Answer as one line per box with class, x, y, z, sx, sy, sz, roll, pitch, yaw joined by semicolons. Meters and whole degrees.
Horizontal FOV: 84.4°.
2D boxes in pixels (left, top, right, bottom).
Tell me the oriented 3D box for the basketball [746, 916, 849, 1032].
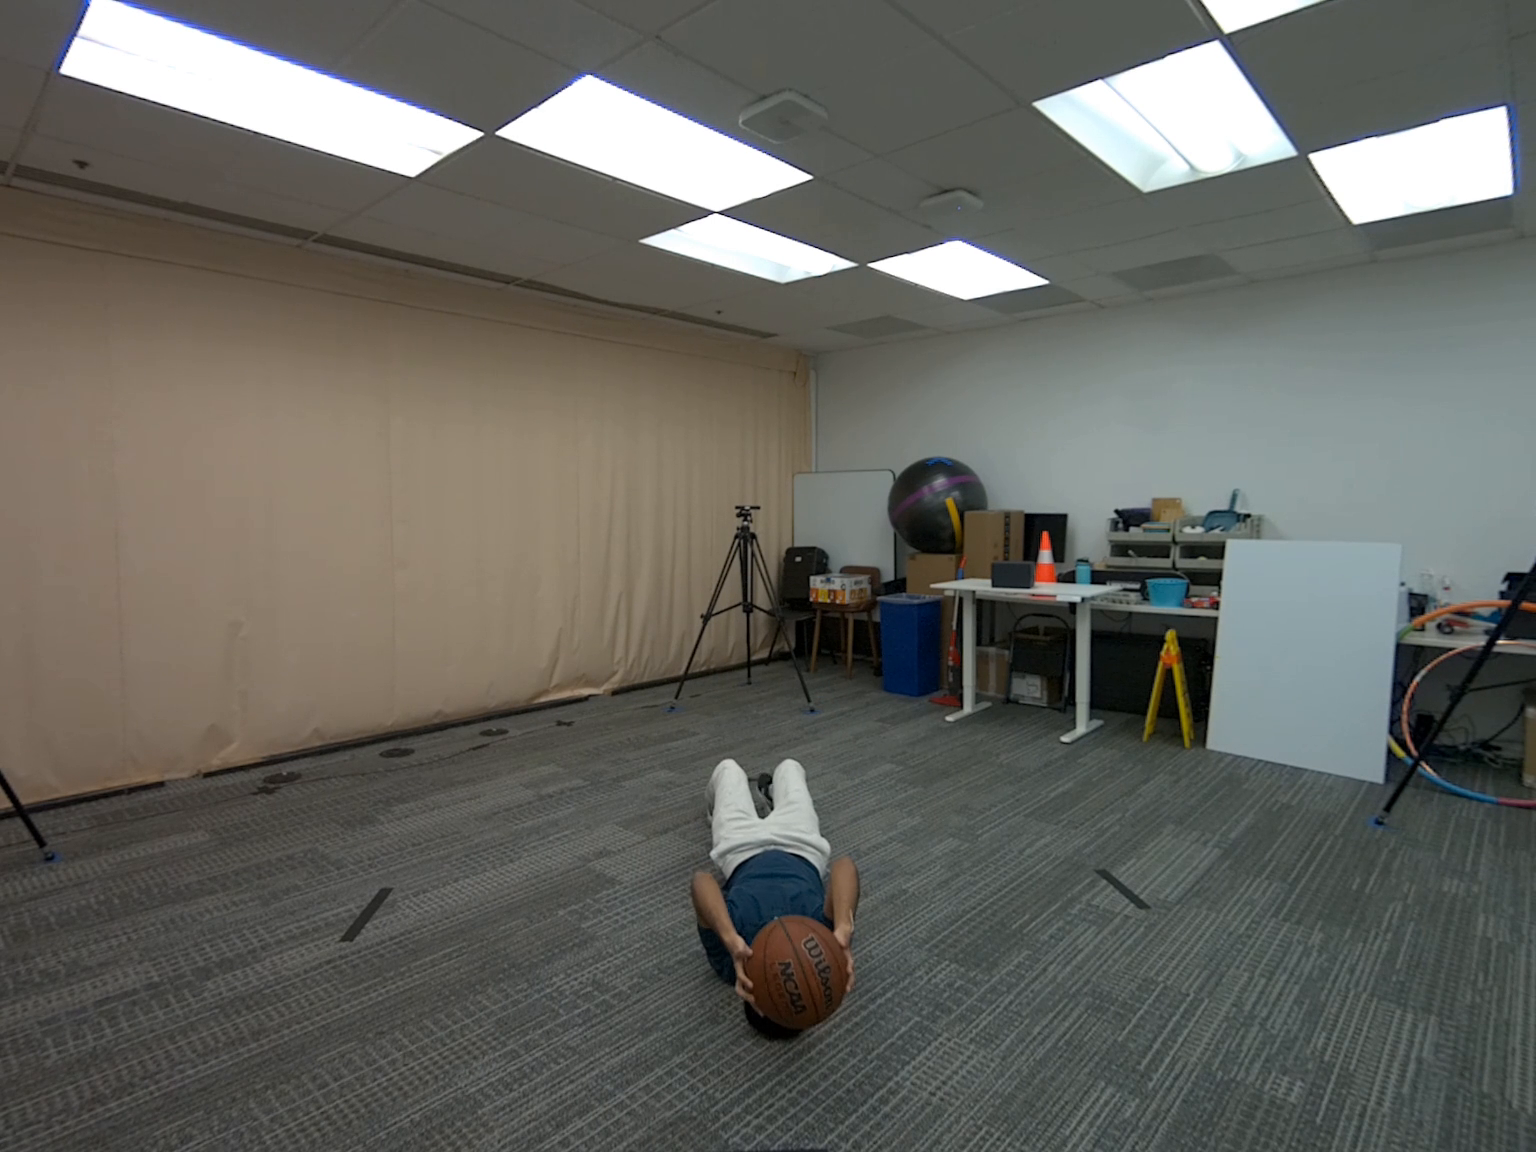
basketball;0.073;0.922;1.980;0.236;0.235;0.237;0;4;-2
